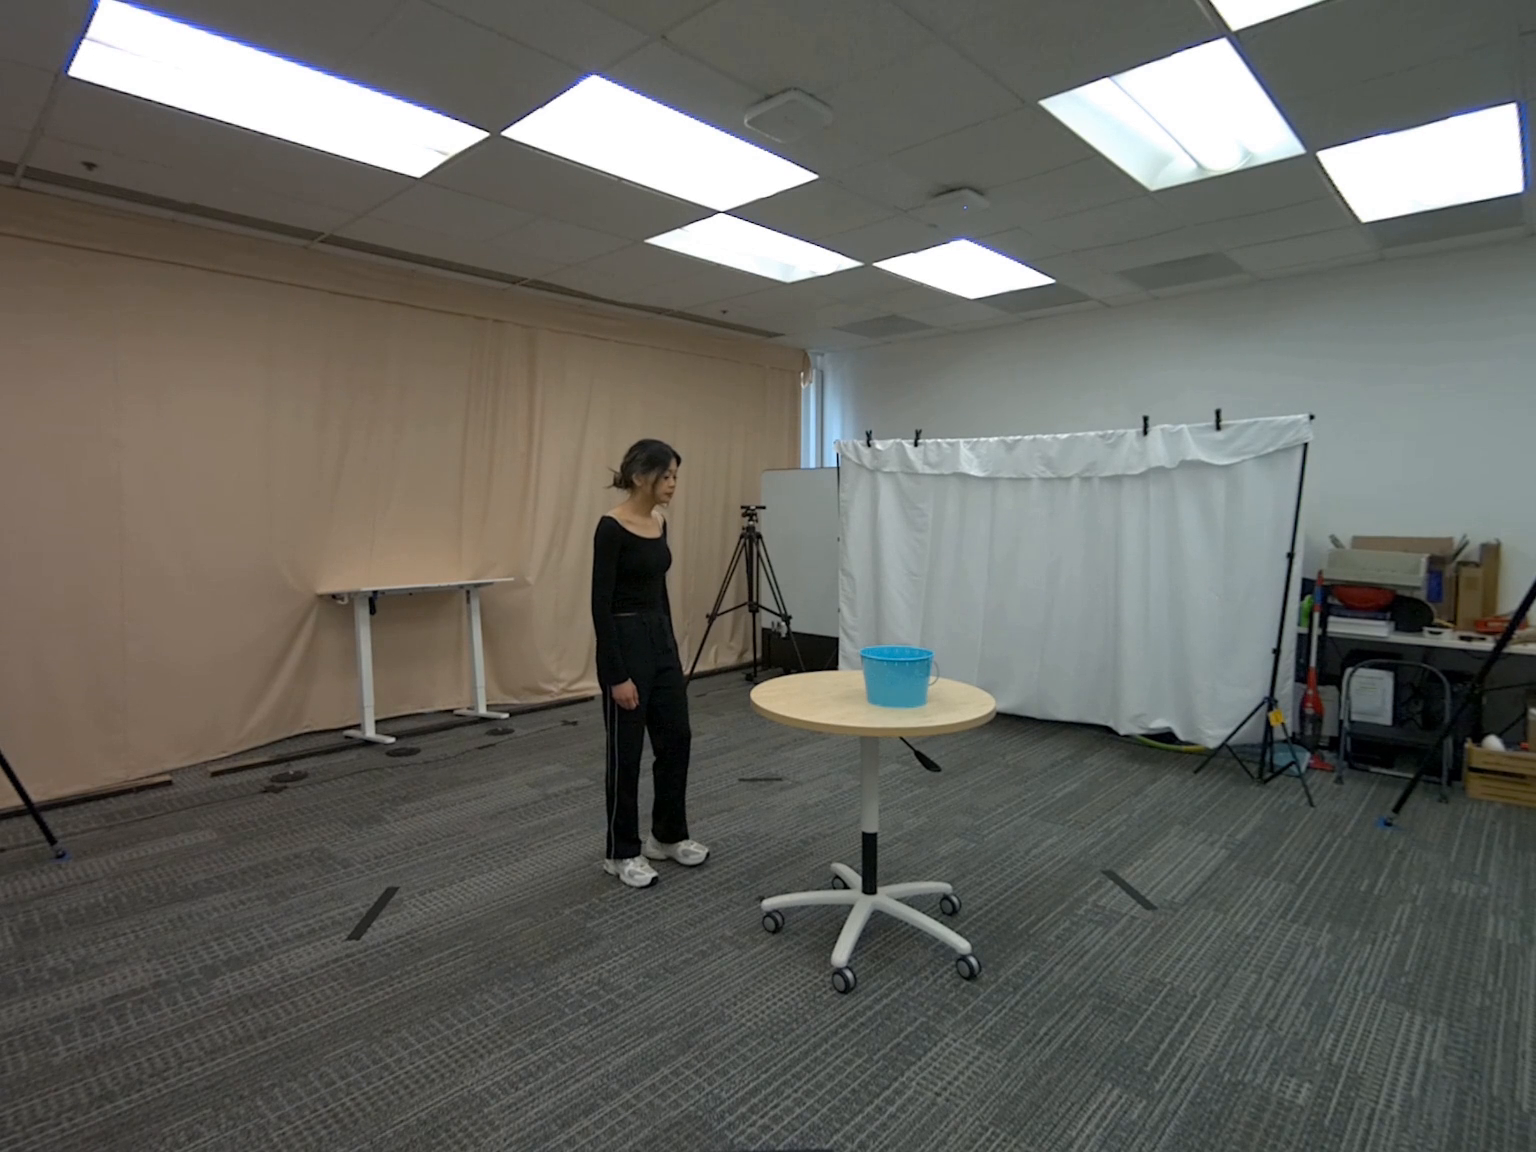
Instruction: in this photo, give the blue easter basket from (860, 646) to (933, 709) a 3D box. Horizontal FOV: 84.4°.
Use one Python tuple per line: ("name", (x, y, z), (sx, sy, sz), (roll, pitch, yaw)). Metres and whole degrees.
("blue easter basket", (0.419, 0.320, 2.600), (0.243, 0.155, 0.244), (-1, 5, -2))
